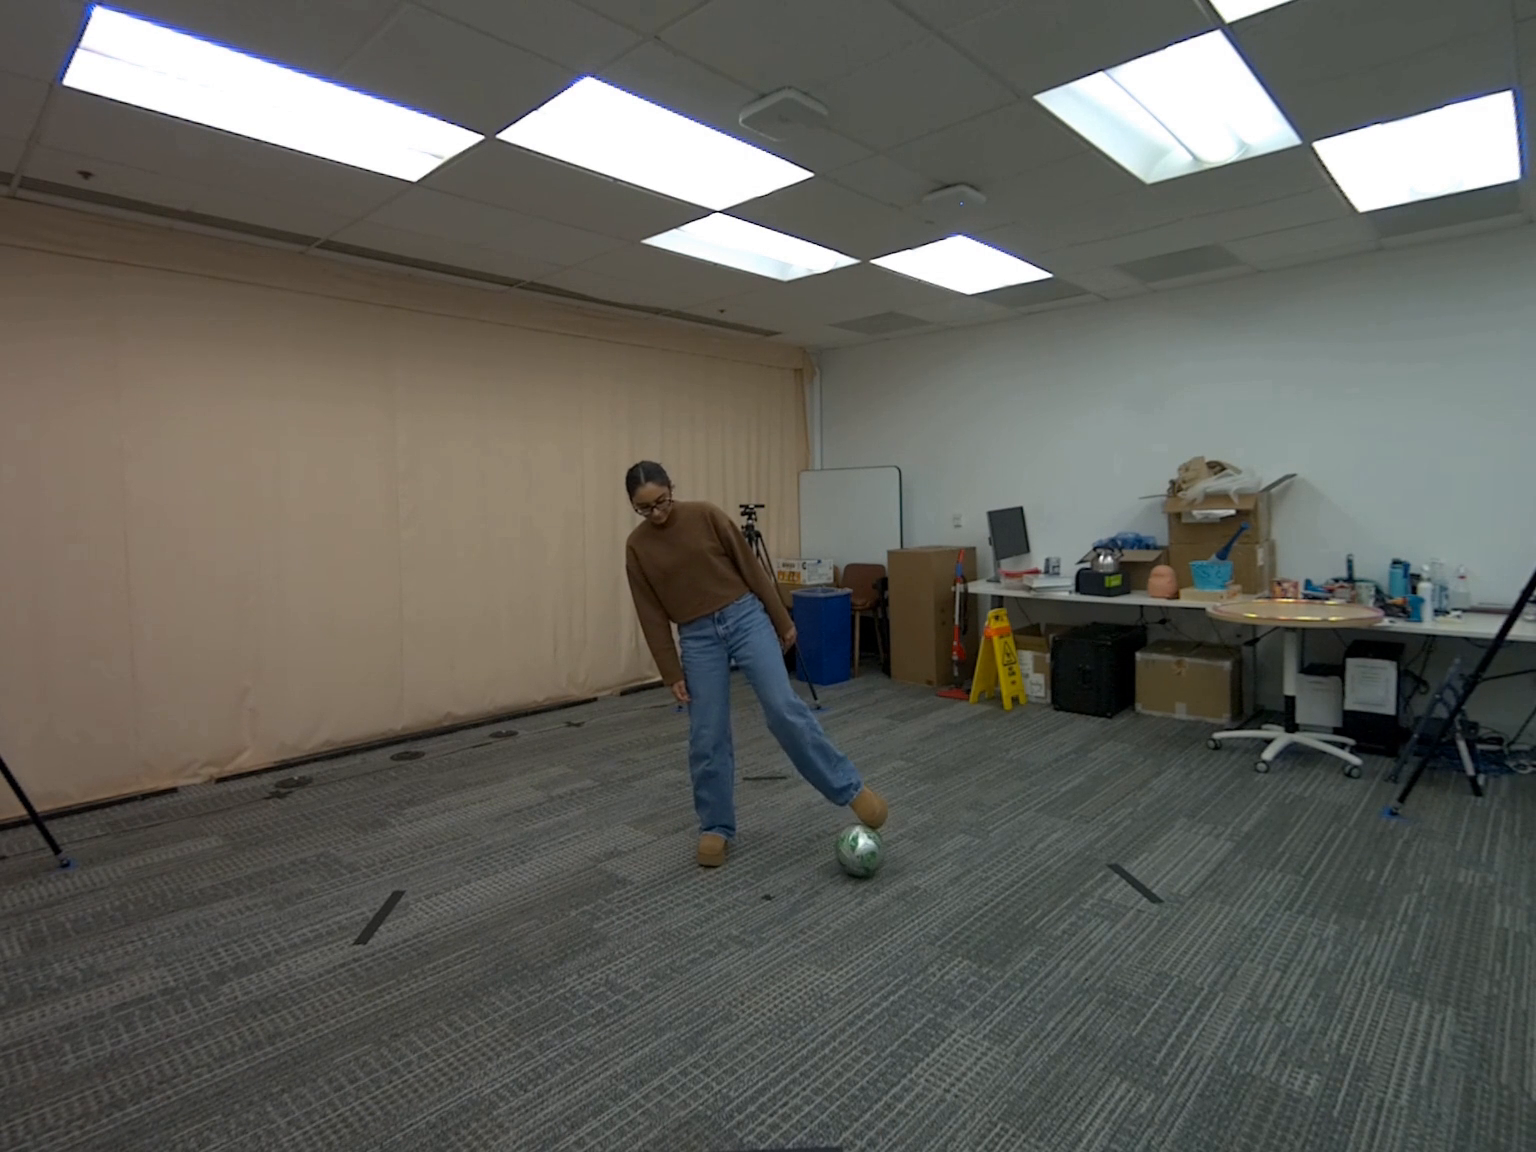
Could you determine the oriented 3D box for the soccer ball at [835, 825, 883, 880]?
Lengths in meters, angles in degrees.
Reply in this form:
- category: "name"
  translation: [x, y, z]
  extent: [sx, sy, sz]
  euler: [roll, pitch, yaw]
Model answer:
- category: "soccer ball"
  translation: [0.337, 1.023, 3.142]
  extent: [0.187, 0.187, 0.188]
  euler: [-1, 4, -2]
